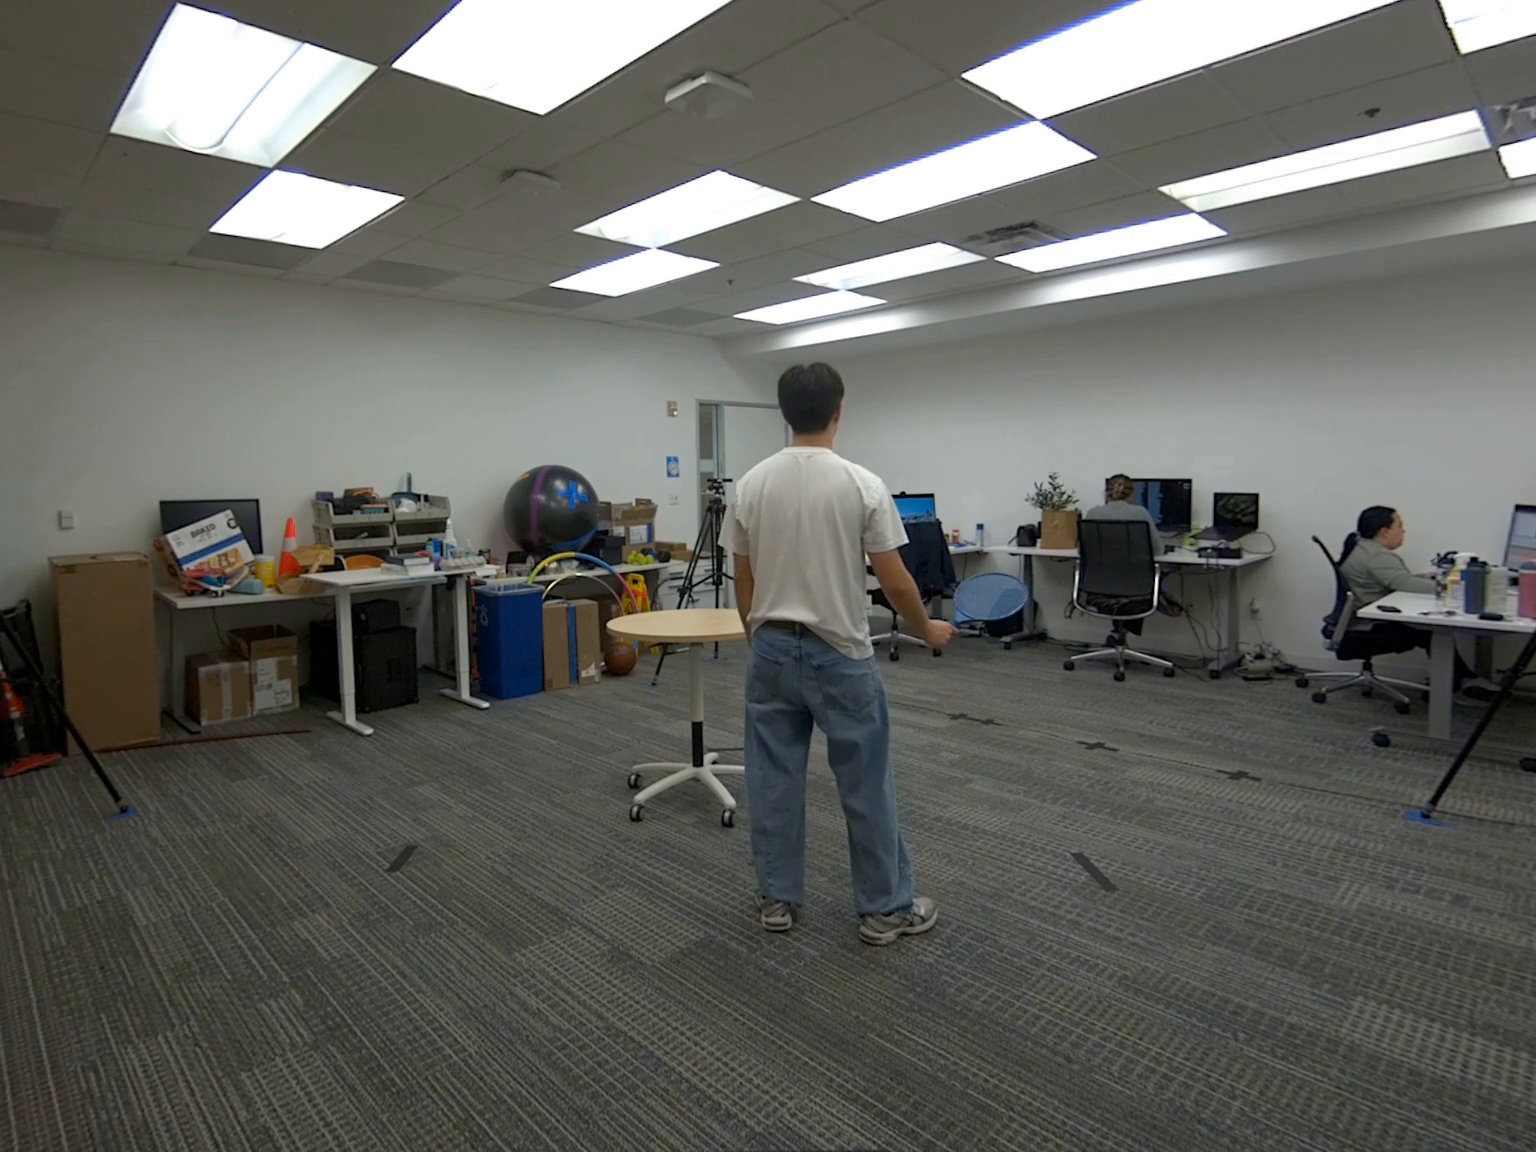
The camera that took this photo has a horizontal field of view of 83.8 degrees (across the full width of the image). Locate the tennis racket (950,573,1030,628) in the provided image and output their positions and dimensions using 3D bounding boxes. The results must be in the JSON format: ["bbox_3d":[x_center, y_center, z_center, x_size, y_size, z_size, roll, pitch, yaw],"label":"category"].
[{"bbox_3d":[0.688,0.111,2.785,0.429,0.031,0.222,-30,43,-23],"label":"tennis racket"}]
